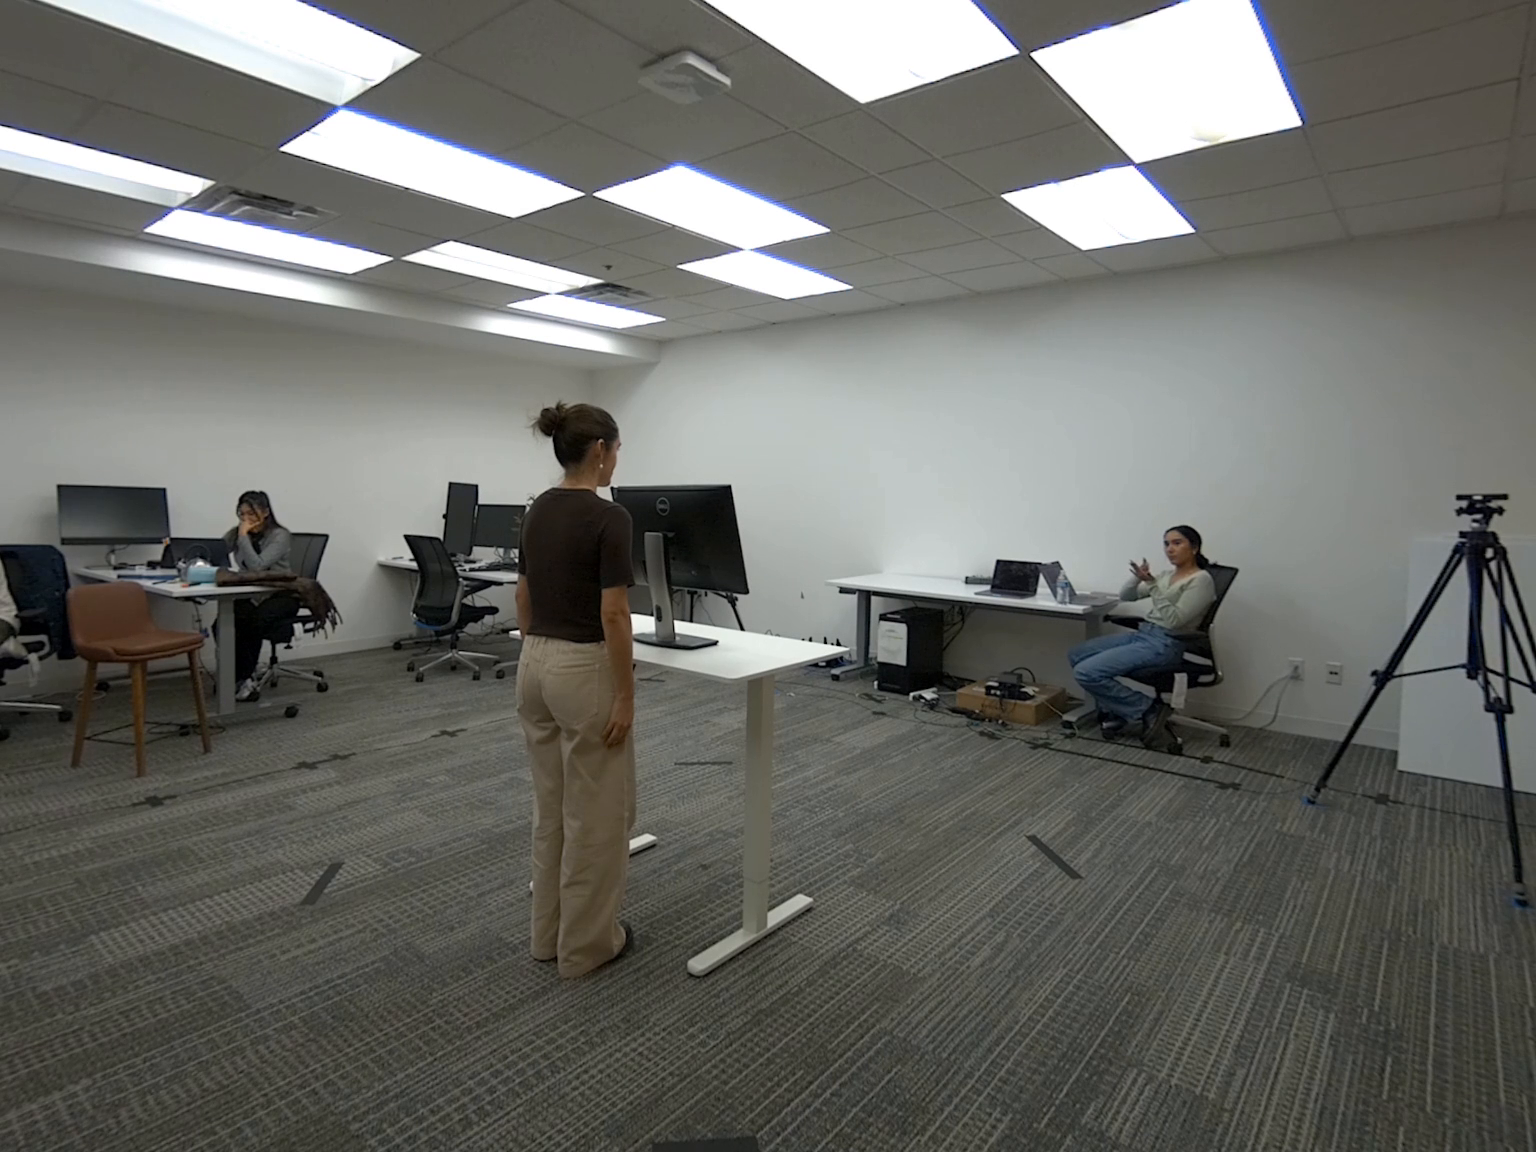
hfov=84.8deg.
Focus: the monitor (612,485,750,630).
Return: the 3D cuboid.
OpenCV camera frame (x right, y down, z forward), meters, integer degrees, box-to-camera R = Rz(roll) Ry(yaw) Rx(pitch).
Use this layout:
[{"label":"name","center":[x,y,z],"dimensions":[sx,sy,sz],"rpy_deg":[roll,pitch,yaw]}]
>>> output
[{"label":"monitor","center":[-0.326,-0.037,2.766],"dimensions":[0.557,0.520,0.182],"rpy_deg":[4,5,38]}]
